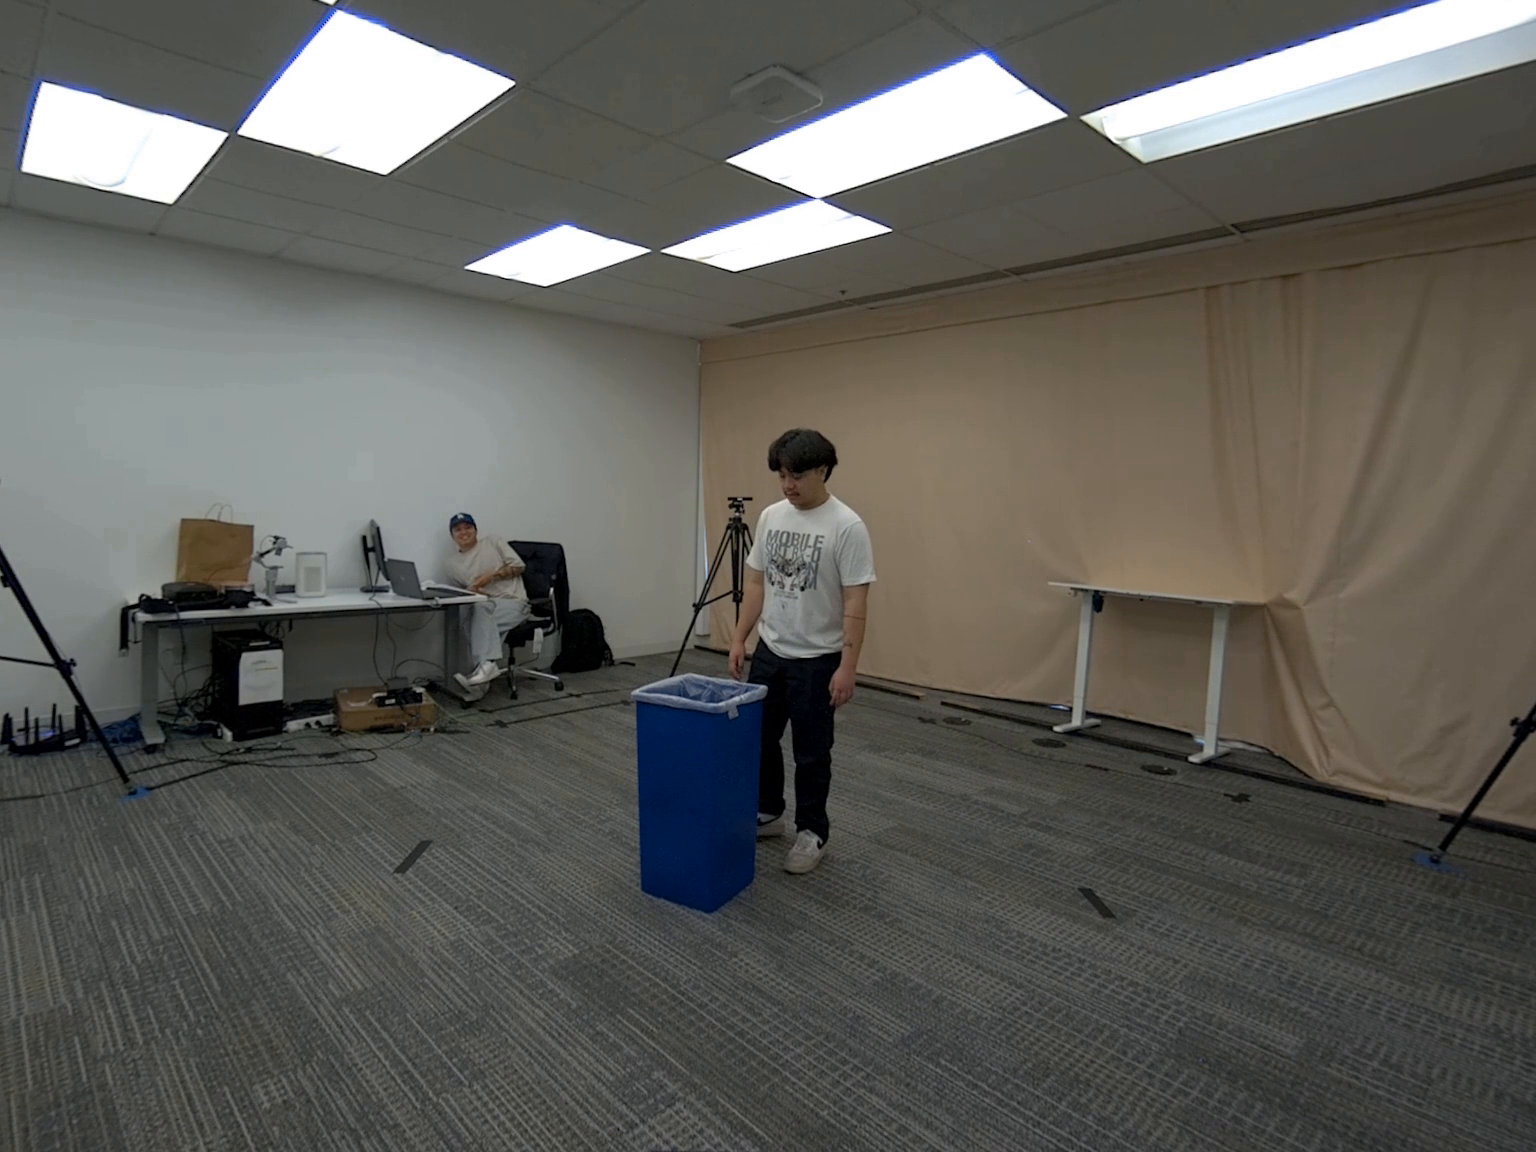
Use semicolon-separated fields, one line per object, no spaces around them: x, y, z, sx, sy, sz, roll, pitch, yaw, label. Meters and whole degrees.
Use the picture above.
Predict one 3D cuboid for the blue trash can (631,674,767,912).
-0.259;0.755;3.002;0.382;0.712;0.371;3;3;29;blue trash can
